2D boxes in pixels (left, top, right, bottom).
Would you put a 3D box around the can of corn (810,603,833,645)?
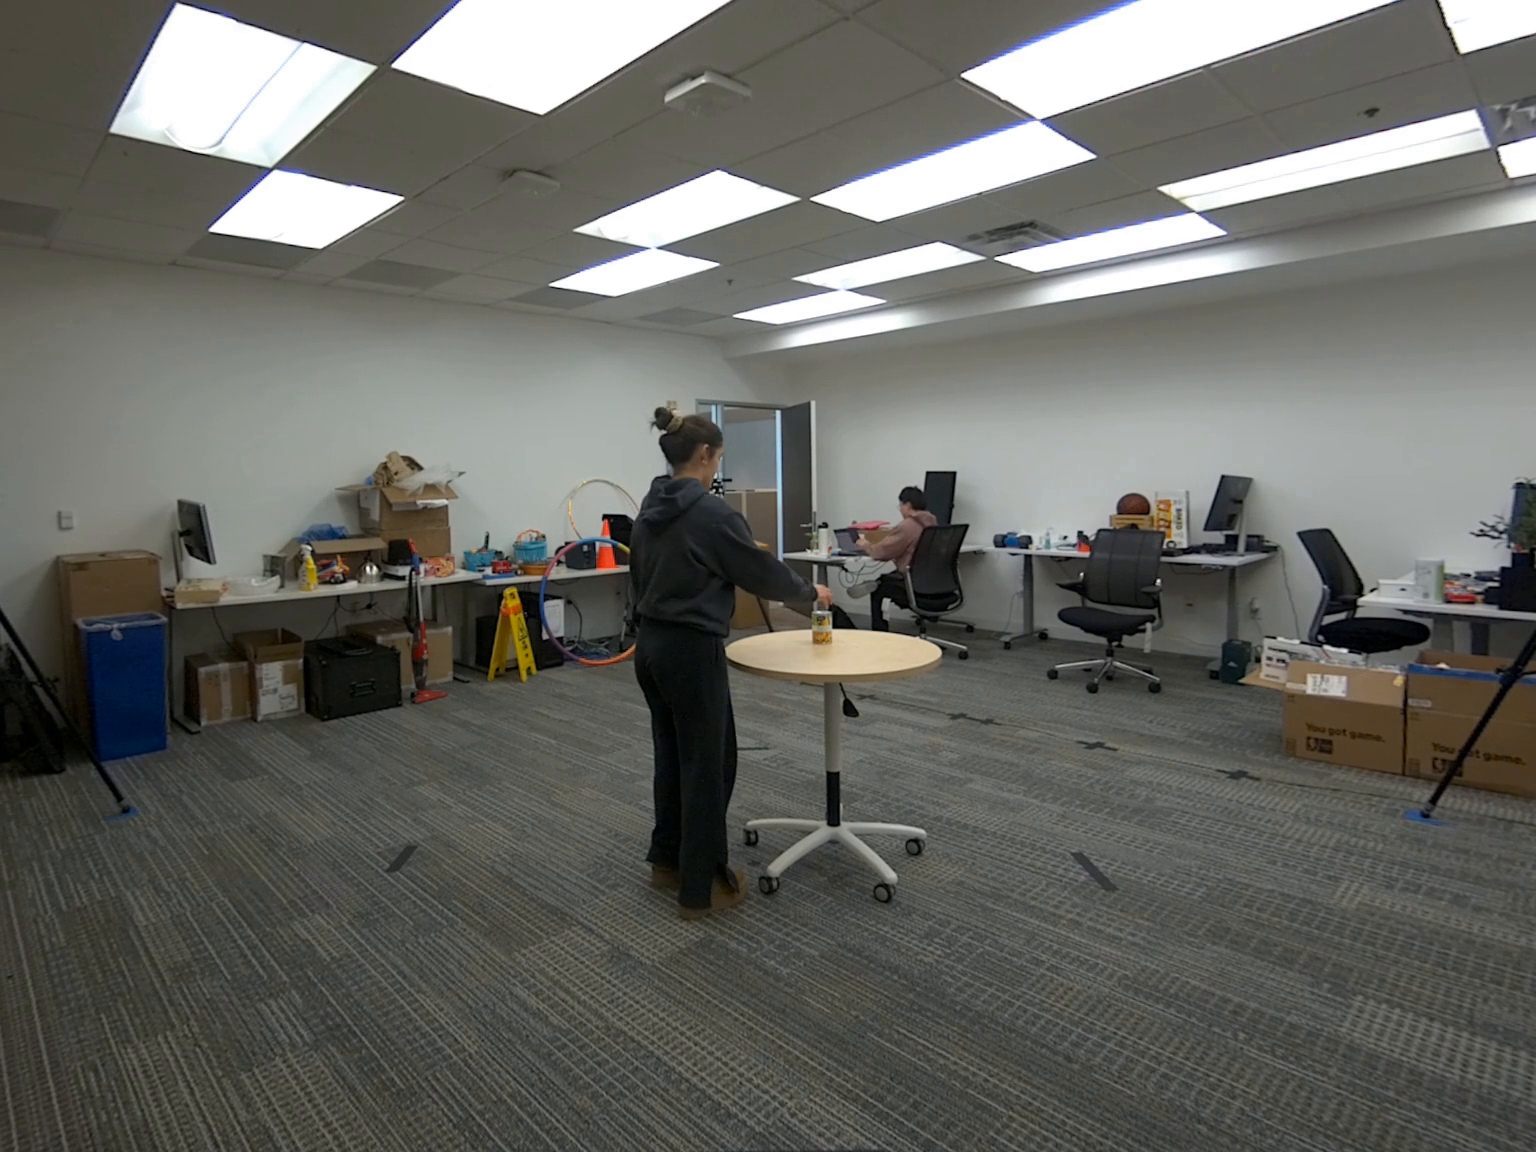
[{"bbox_3d":[0.210,0.192,3.167,0.074,0.110,0.075,0,7,-2],"label":"can of corn"}]
